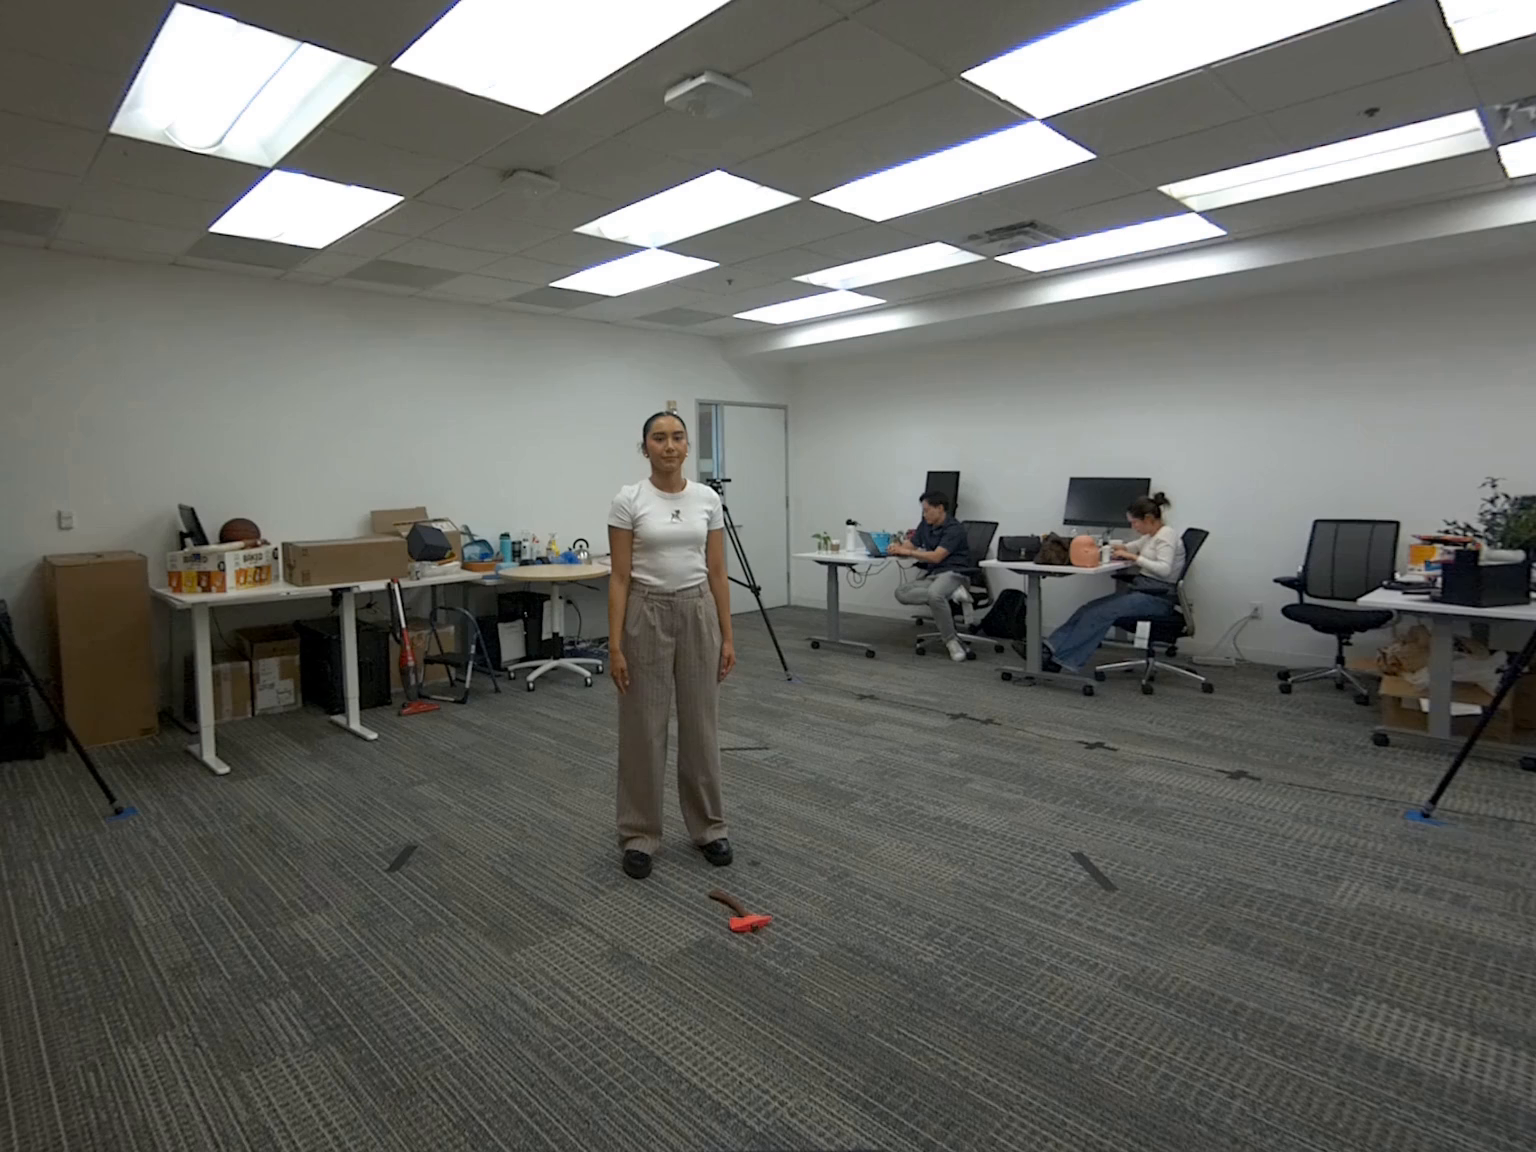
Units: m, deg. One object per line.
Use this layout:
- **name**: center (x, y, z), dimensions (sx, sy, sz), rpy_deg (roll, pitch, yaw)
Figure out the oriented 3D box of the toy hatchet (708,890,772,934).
- **toy hatchet**: center (-0.116, 1.076, 2.738), dimensions (0.128, 0.029, 0.278), rpy_deg (-9, 9, -41)
